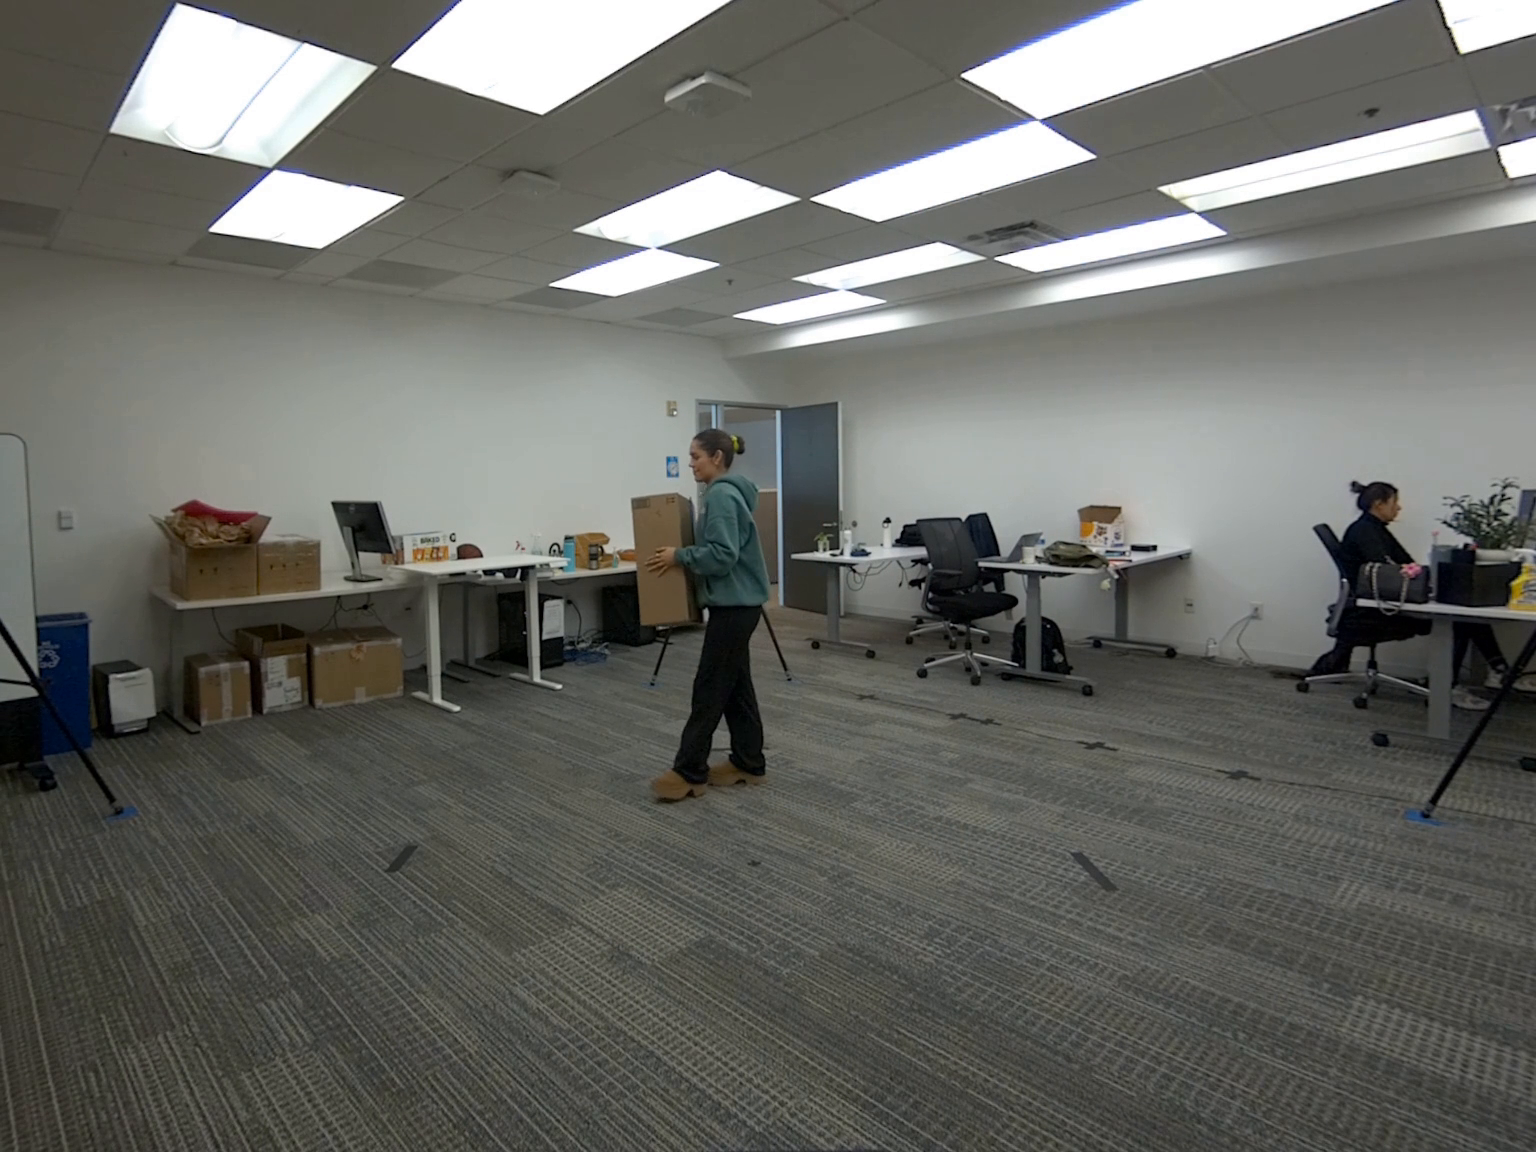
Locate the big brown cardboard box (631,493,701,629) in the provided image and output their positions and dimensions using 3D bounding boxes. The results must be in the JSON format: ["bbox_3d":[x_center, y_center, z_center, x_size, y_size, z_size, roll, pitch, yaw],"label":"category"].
[{"bbox_3d":[-0.455,-0.060,3.928,0.235,0.593,0.412,-6,-6,6],"label":"big brown cardboard box"}]
